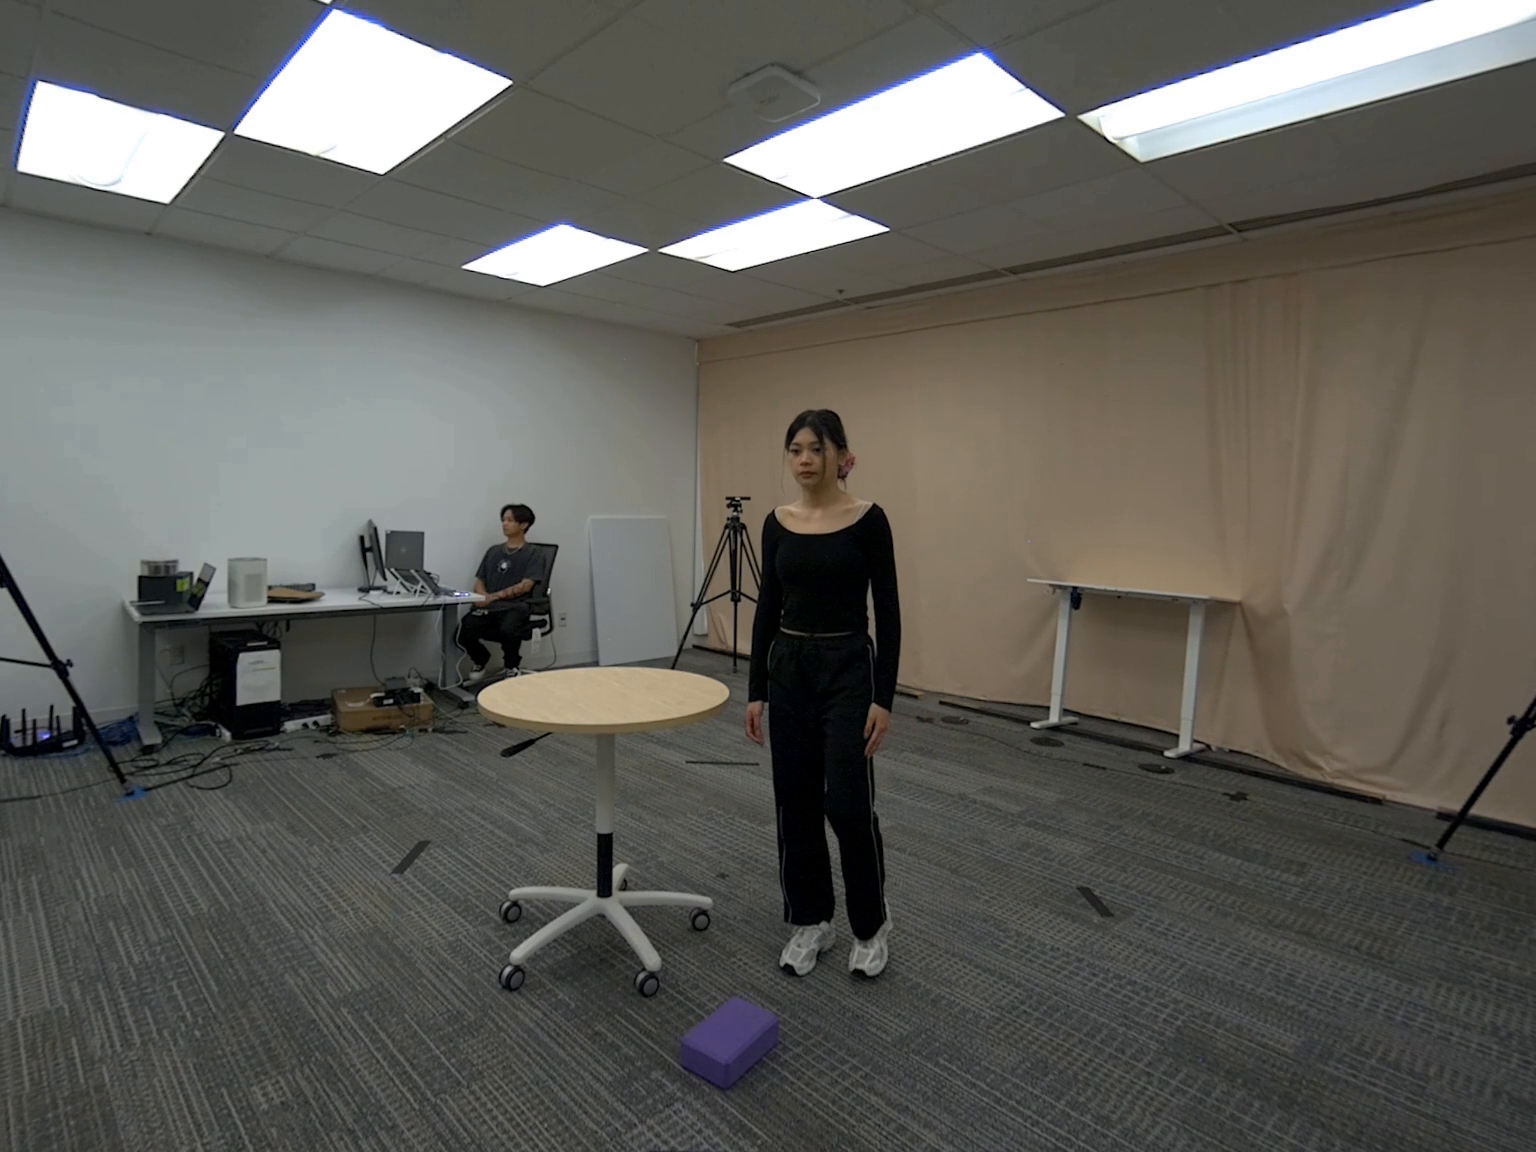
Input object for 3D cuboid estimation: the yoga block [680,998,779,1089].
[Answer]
[{"bbox_3d":[-0.100,1.162,2.099,0.153,0.076,0.224,6,8,36],"label":"yoga block"}]
